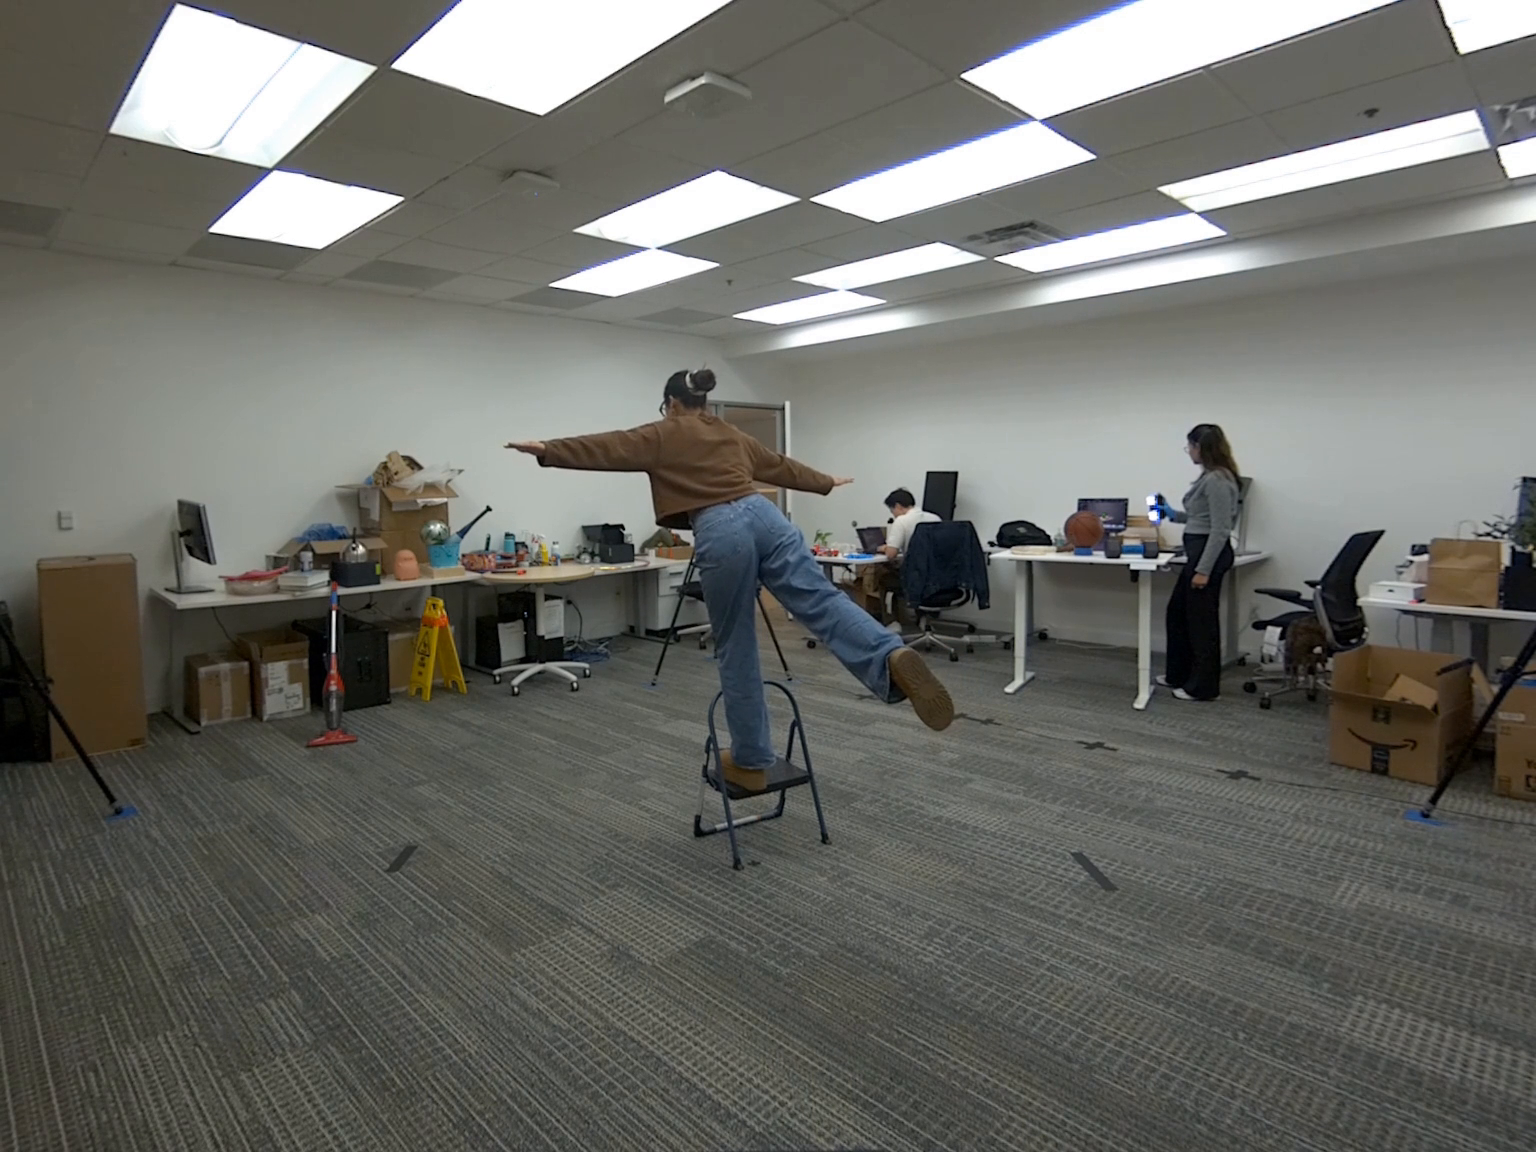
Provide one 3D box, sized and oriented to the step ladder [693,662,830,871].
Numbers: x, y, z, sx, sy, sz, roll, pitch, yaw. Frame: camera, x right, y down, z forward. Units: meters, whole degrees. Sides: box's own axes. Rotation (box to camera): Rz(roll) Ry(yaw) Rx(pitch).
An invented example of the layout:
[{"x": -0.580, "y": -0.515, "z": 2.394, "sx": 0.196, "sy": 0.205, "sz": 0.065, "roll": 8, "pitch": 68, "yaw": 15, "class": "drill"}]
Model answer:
[{"x": -0.030, "y": 0.721, "z": 3.293, "sx": 0.420, "sy": 0.604, "sz": 0.359, "roll": -4, "pitch": 5, "yaw": -33, "class": "step ladder"}]
